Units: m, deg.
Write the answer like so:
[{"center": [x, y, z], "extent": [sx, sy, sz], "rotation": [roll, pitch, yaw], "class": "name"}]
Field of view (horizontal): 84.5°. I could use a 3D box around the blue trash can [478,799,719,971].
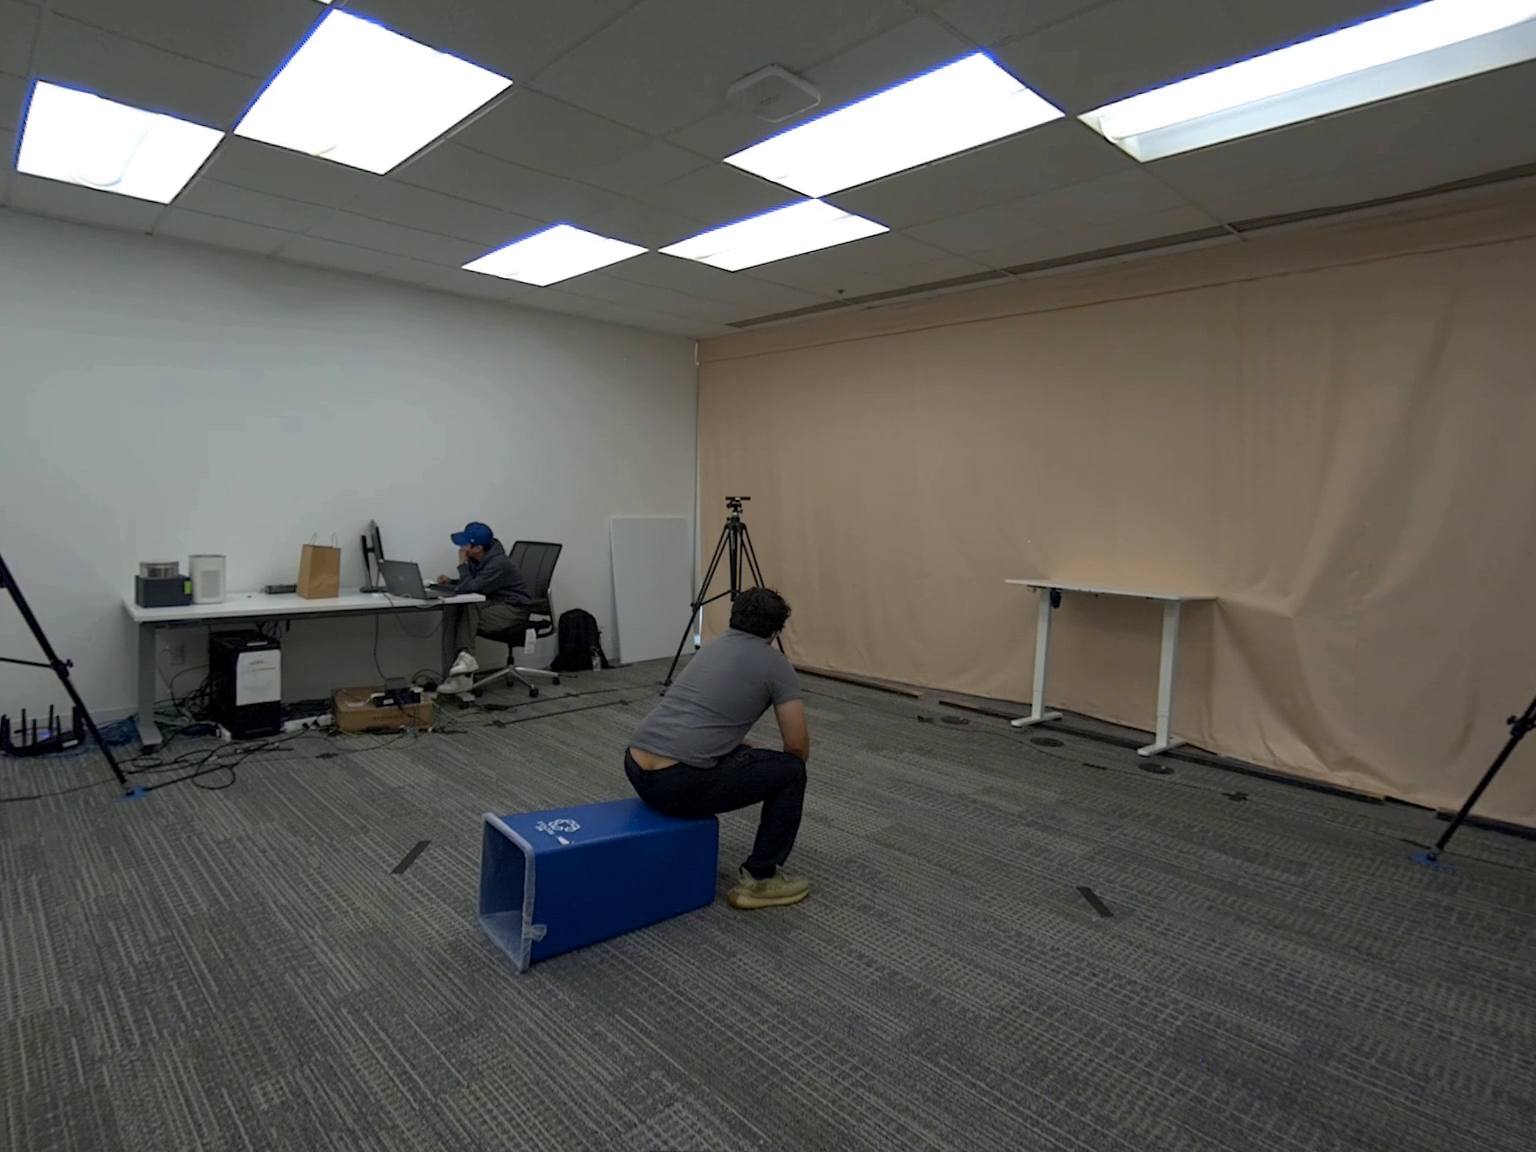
[{"center": [-0.553, 0.953, 2.776], "extent": [0.697, 0.373, 0.388], "rotation": [0, 4, -38], "class": "blue trash can"}]
